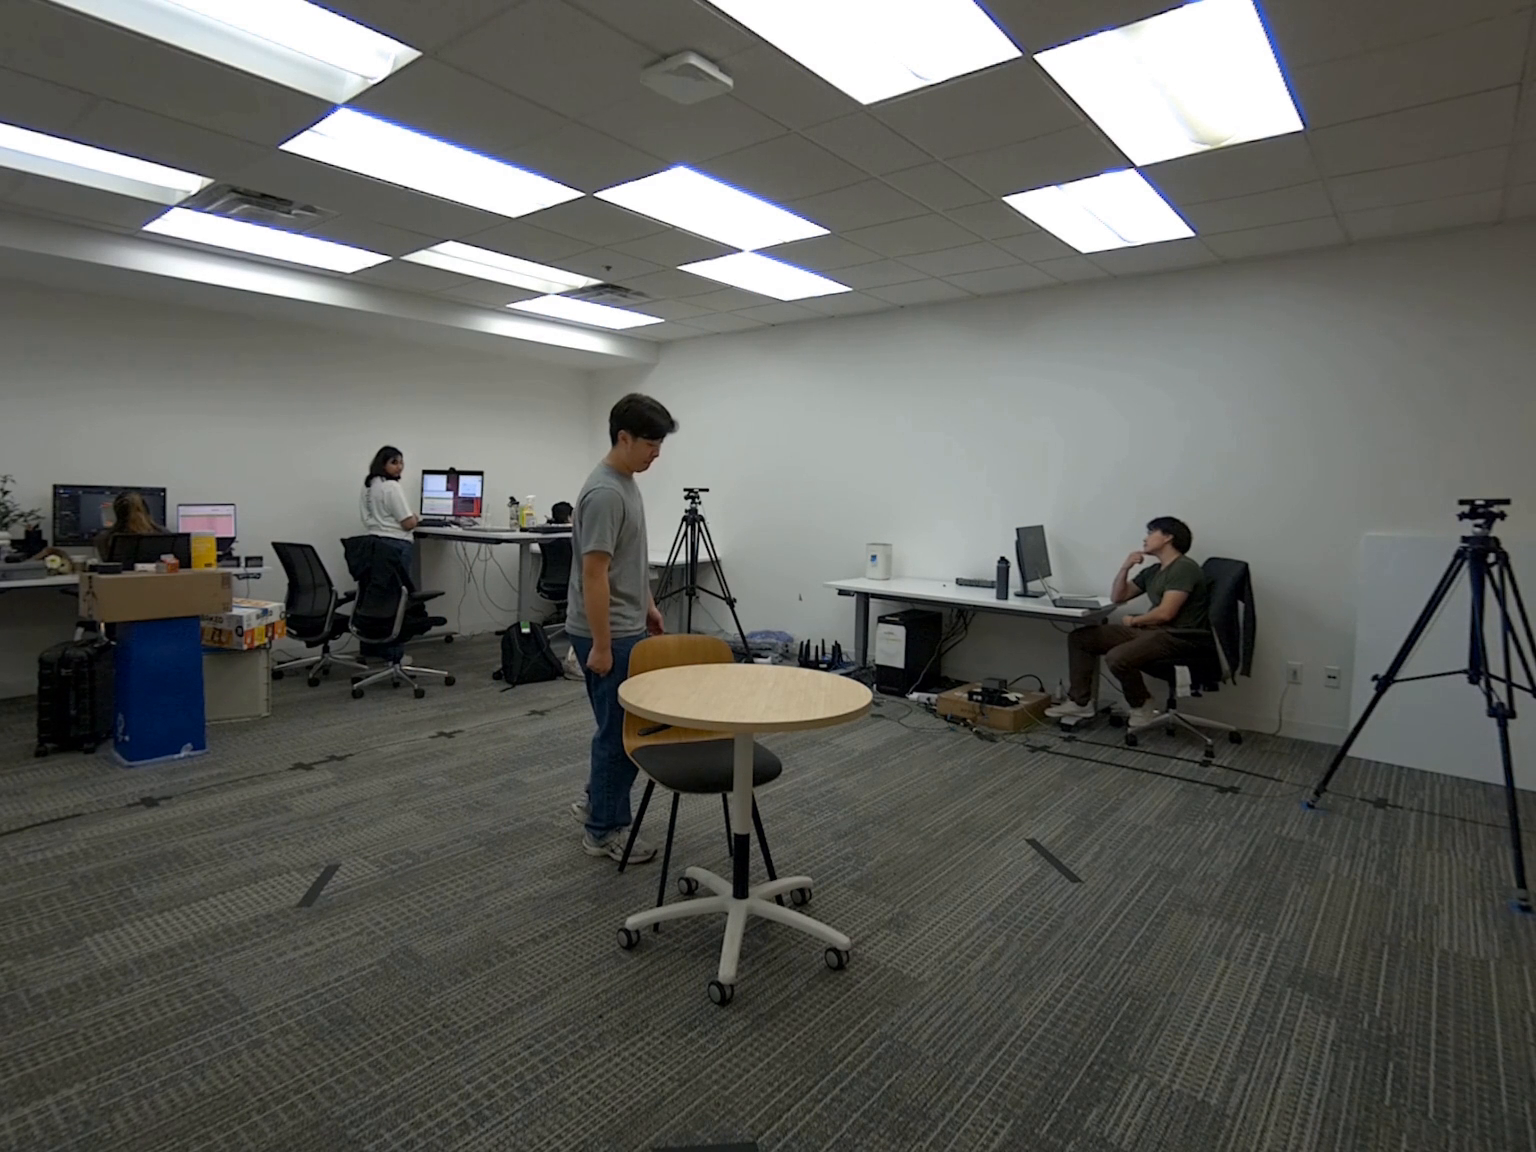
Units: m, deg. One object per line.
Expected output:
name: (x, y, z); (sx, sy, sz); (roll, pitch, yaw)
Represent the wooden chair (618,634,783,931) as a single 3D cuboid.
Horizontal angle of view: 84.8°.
wooden chair: (-0.244, 0.659, 2.915); (0.467, 0.878, 0.534); (0, -1, -24)
